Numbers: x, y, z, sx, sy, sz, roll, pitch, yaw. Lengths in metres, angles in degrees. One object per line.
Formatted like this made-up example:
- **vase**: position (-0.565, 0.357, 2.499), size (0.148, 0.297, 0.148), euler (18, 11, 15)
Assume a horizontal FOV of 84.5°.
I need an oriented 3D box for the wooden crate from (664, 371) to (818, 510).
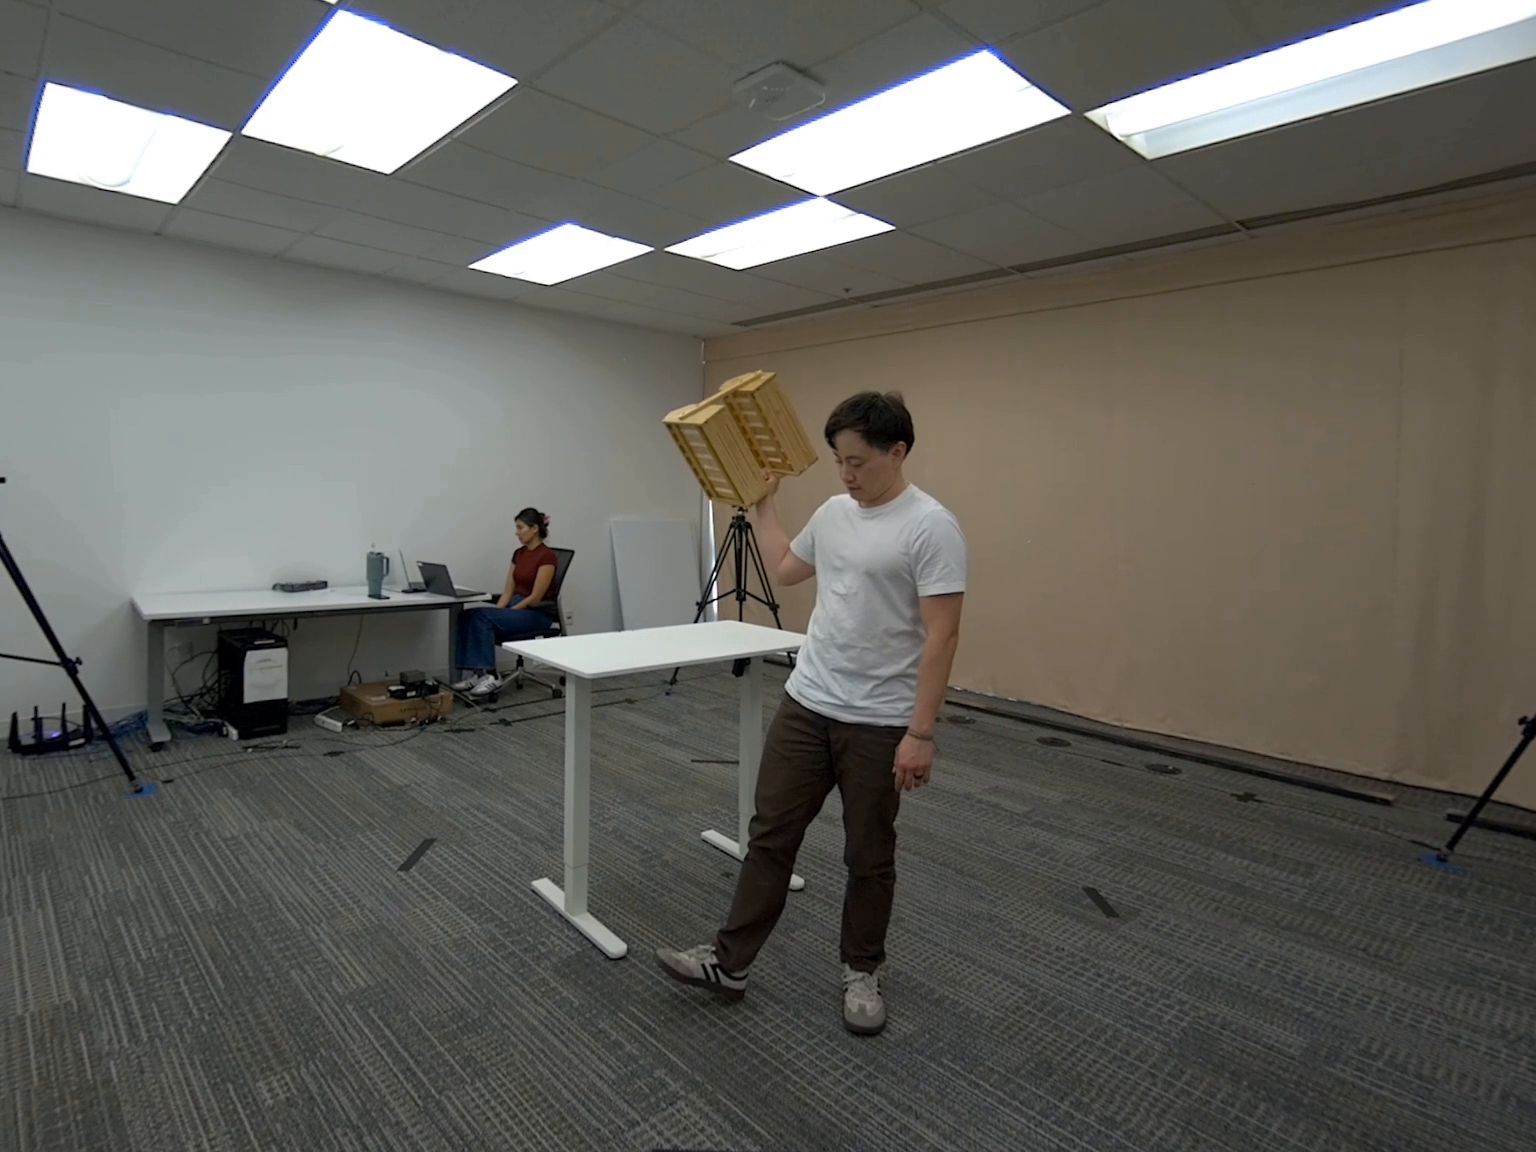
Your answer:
- **wooden crate**: position (-0.094, -0.415, 2.535), size (0.273, 0.316, 0.310), euler (-41, 30, -20)
